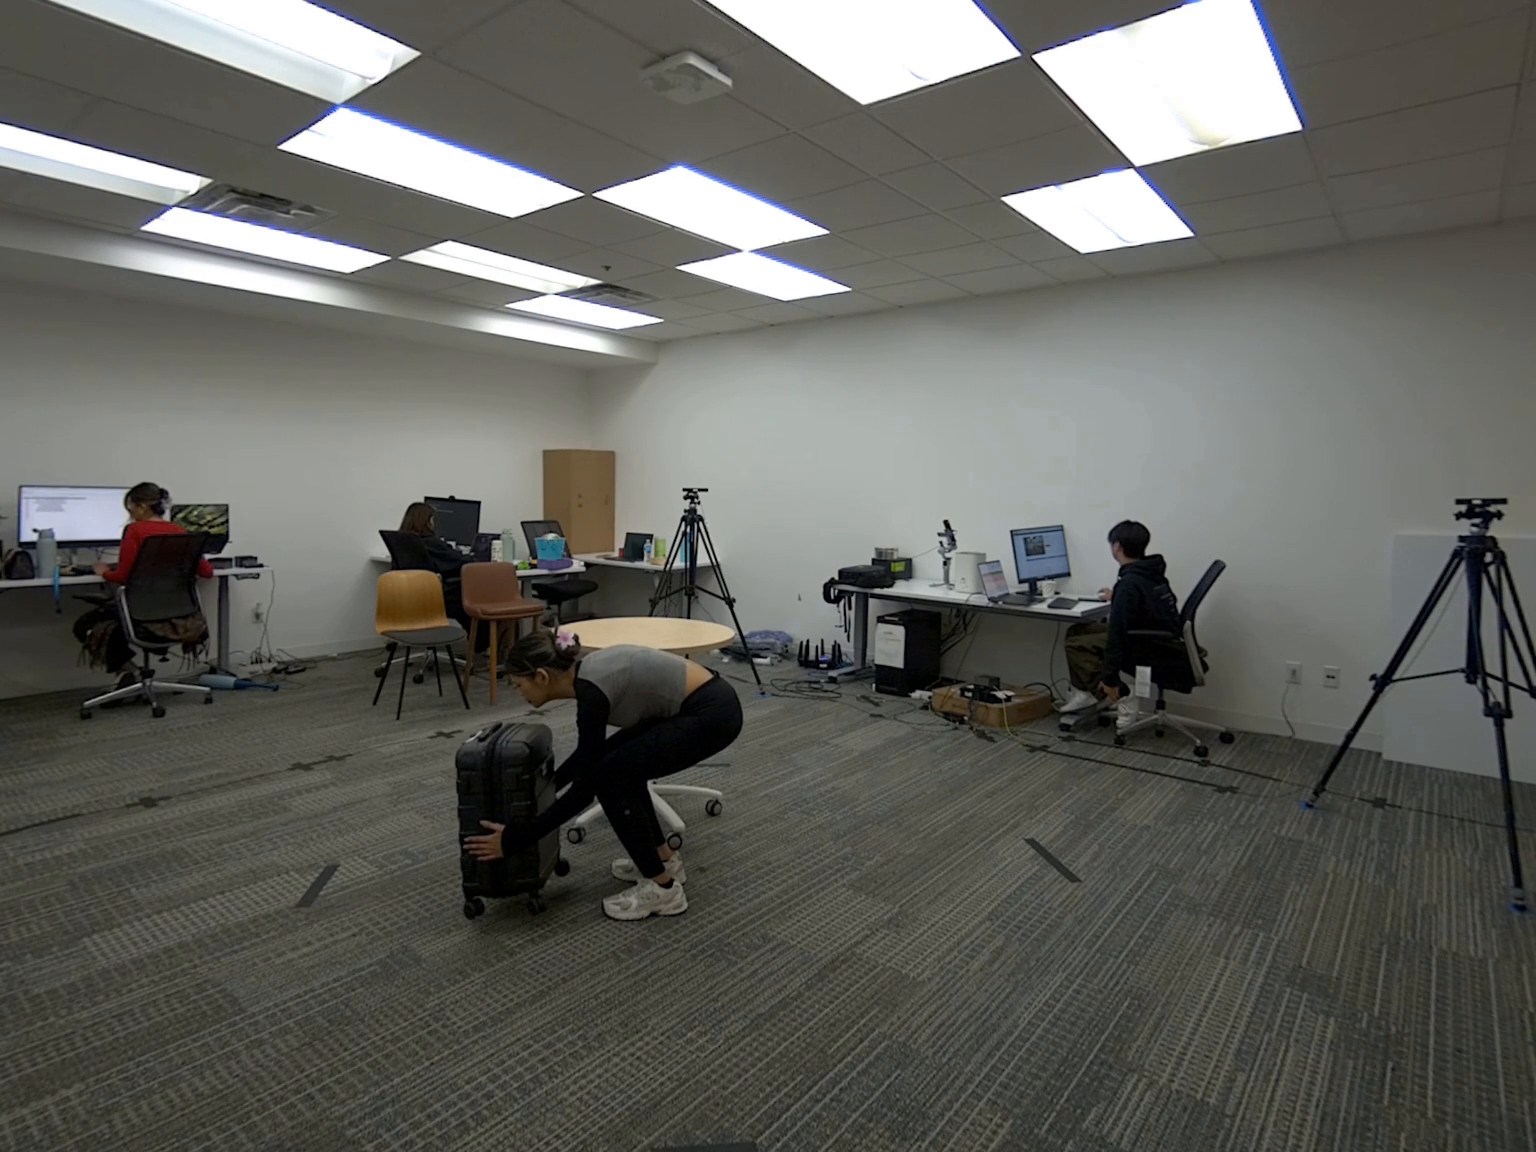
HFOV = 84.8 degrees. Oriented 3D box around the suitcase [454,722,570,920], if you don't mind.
[{"bbox_3d":[-0.865,0.774,2.819,0.249,0.550,0.374,-5,0,1],"label":"suitcase"}]
